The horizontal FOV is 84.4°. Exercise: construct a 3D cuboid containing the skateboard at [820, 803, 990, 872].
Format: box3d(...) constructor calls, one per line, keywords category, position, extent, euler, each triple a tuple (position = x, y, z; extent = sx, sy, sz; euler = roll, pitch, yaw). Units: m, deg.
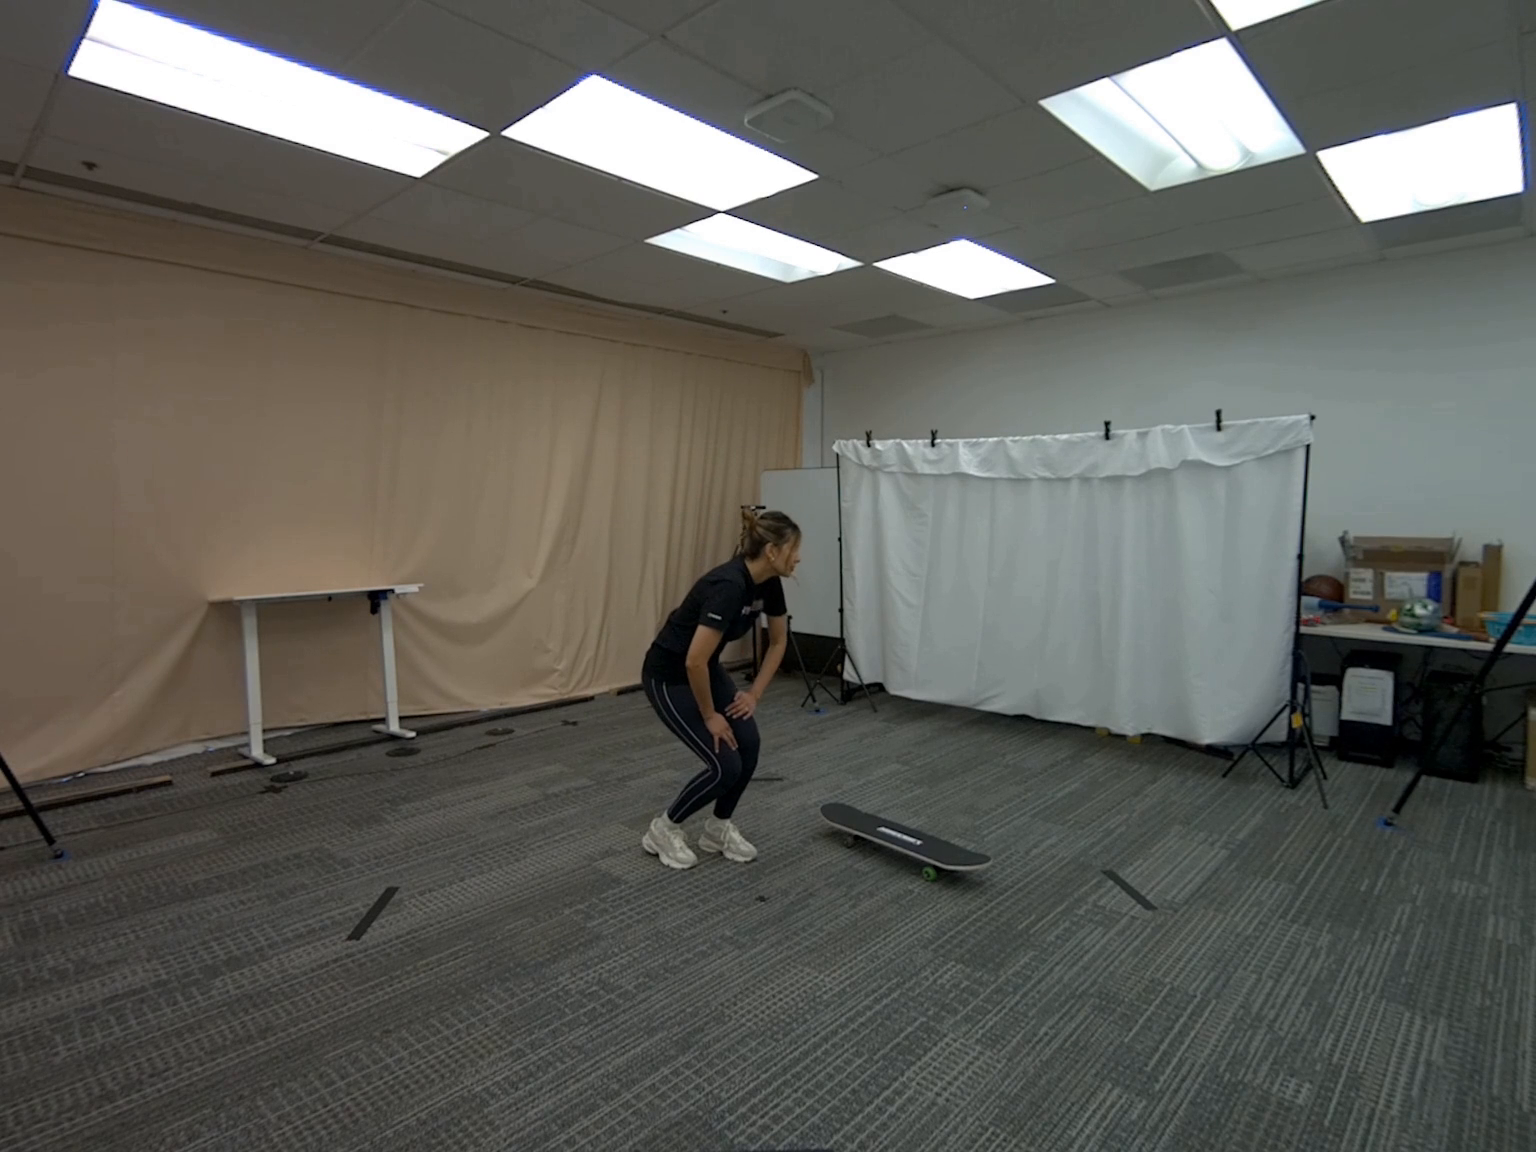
box3d(category="skateboard", position=(0.524, 1.057, 3.322), extent=(0.187, 0.110, 0.812), euler=(-4, 6, -42))
